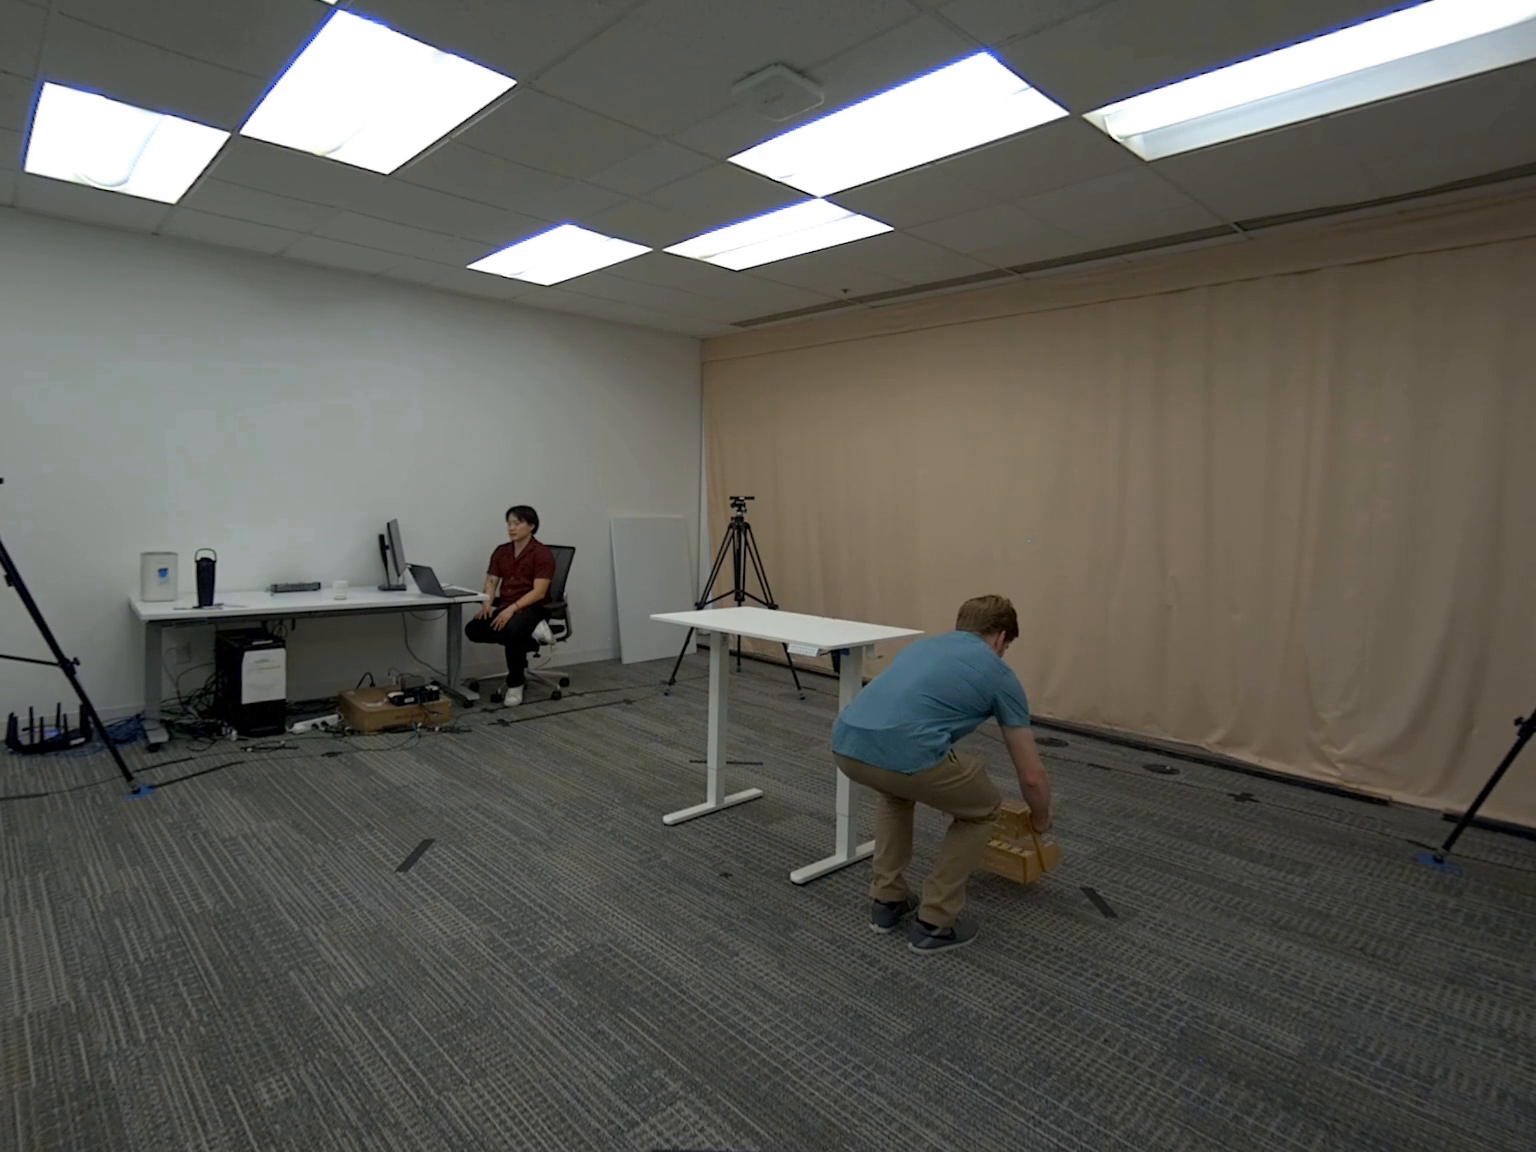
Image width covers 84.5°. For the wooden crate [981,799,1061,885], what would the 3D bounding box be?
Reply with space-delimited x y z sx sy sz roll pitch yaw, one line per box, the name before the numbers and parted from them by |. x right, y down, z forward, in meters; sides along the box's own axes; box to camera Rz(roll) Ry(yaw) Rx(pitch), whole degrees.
wooden crate | 0.834 0.897 3.029 0.295 0.272 0.332 -5 6 -43
